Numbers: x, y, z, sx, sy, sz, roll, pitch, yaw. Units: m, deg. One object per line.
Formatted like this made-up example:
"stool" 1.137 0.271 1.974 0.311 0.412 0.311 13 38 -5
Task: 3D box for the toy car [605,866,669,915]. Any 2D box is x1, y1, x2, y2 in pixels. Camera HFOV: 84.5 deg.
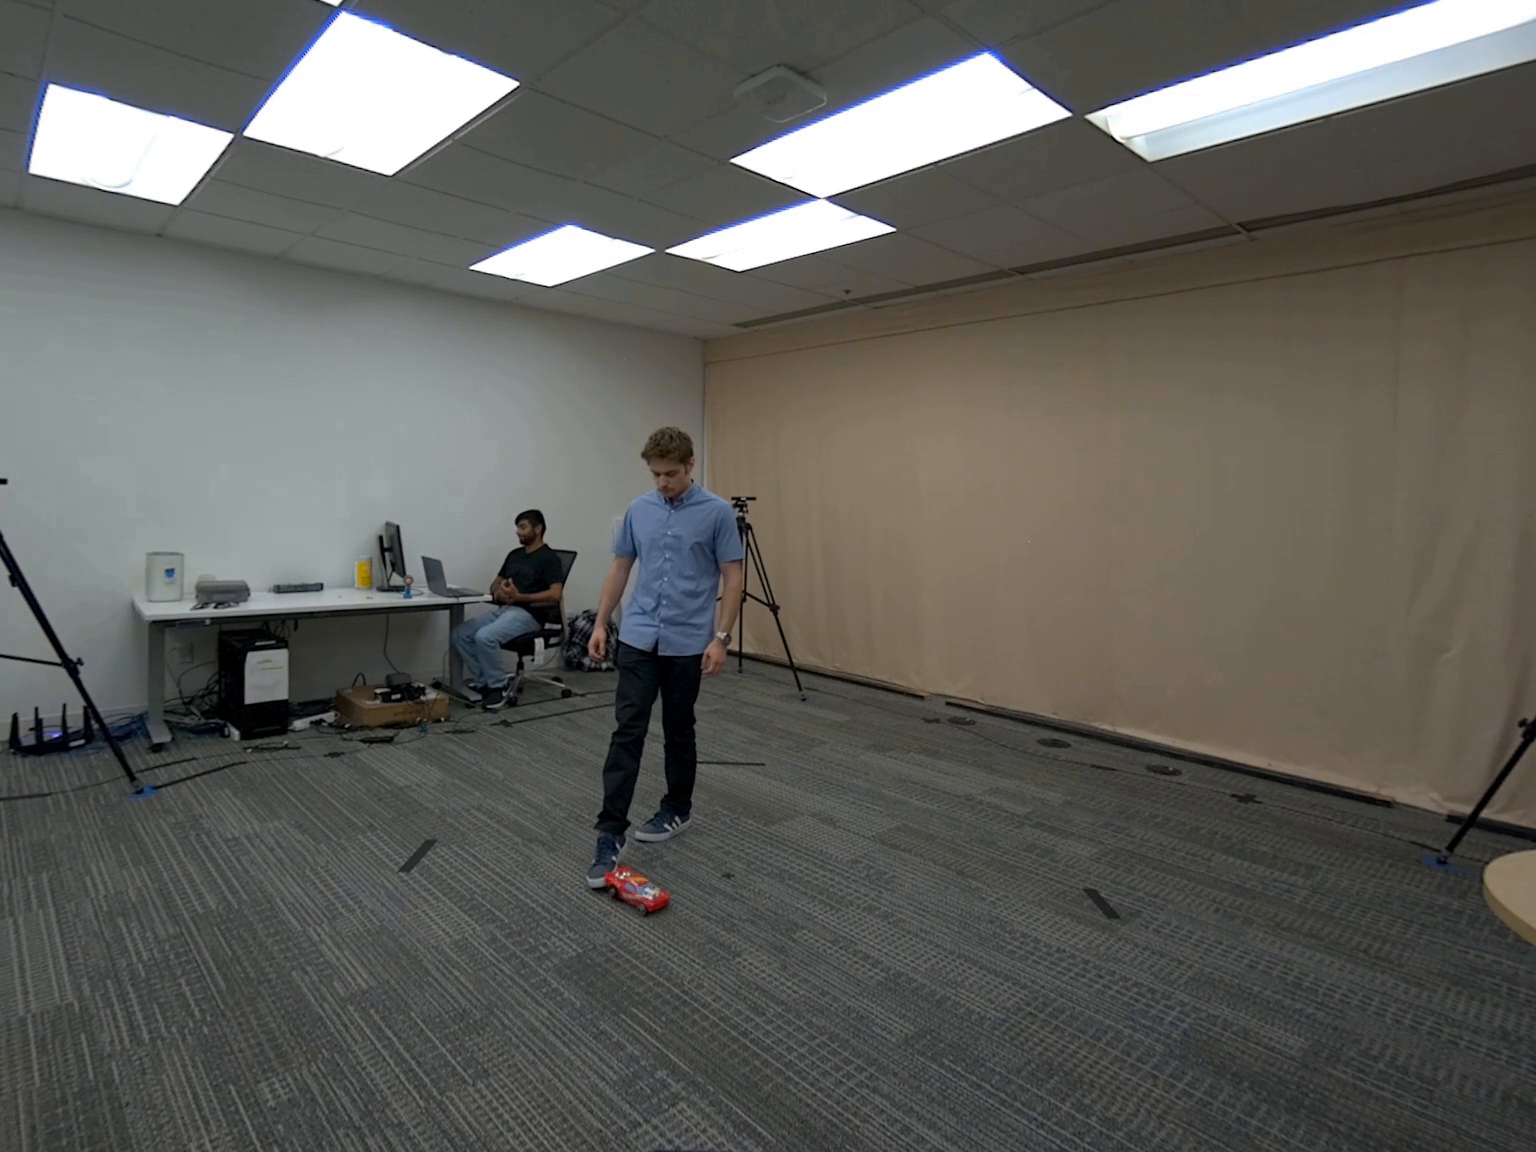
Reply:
"toy car" -0.471 1.085 2.896 0.262 0.082 0.127 23 18 39
